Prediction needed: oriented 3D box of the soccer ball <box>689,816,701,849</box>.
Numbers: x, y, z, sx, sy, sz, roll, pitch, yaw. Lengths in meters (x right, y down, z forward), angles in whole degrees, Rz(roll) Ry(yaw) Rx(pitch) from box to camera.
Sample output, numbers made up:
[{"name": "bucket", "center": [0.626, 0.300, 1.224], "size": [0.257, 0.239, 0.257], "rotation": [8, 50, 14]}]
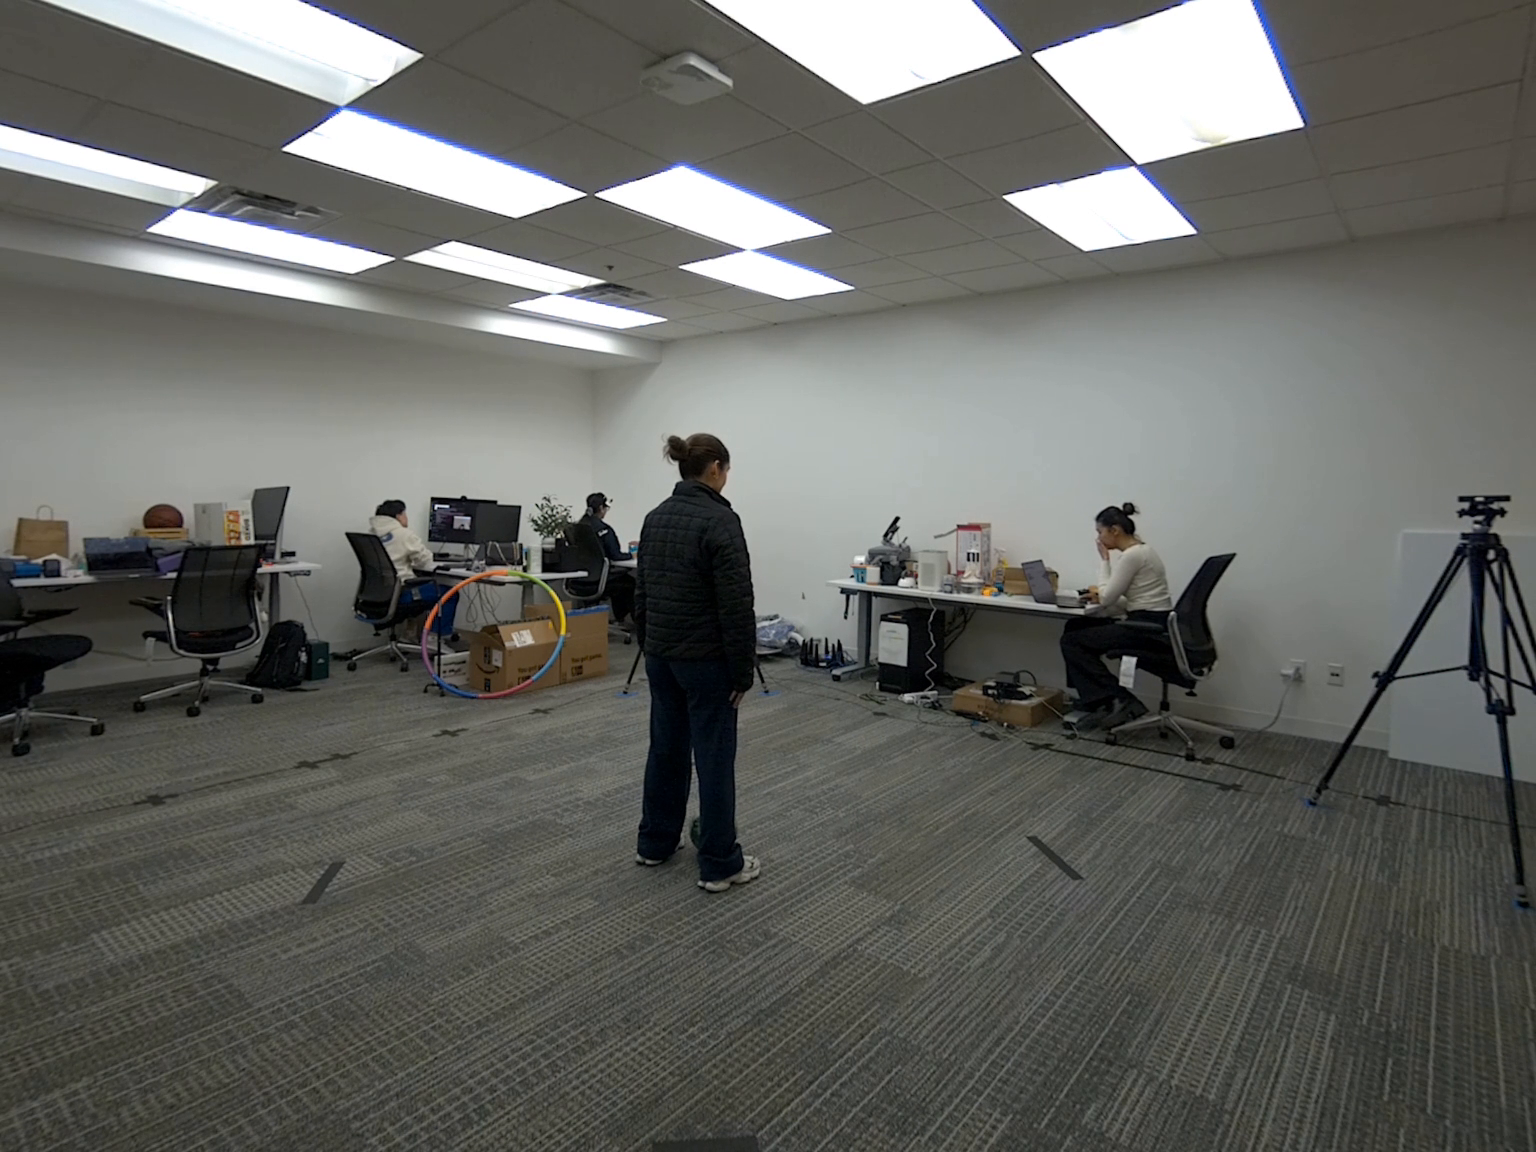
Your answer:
[{"name": "soccer ball", "center": [-0.216, 0.957, 3.222], "size": [0.187, 0.187, 0.188], "rotation": [1, 4, -2]}]
